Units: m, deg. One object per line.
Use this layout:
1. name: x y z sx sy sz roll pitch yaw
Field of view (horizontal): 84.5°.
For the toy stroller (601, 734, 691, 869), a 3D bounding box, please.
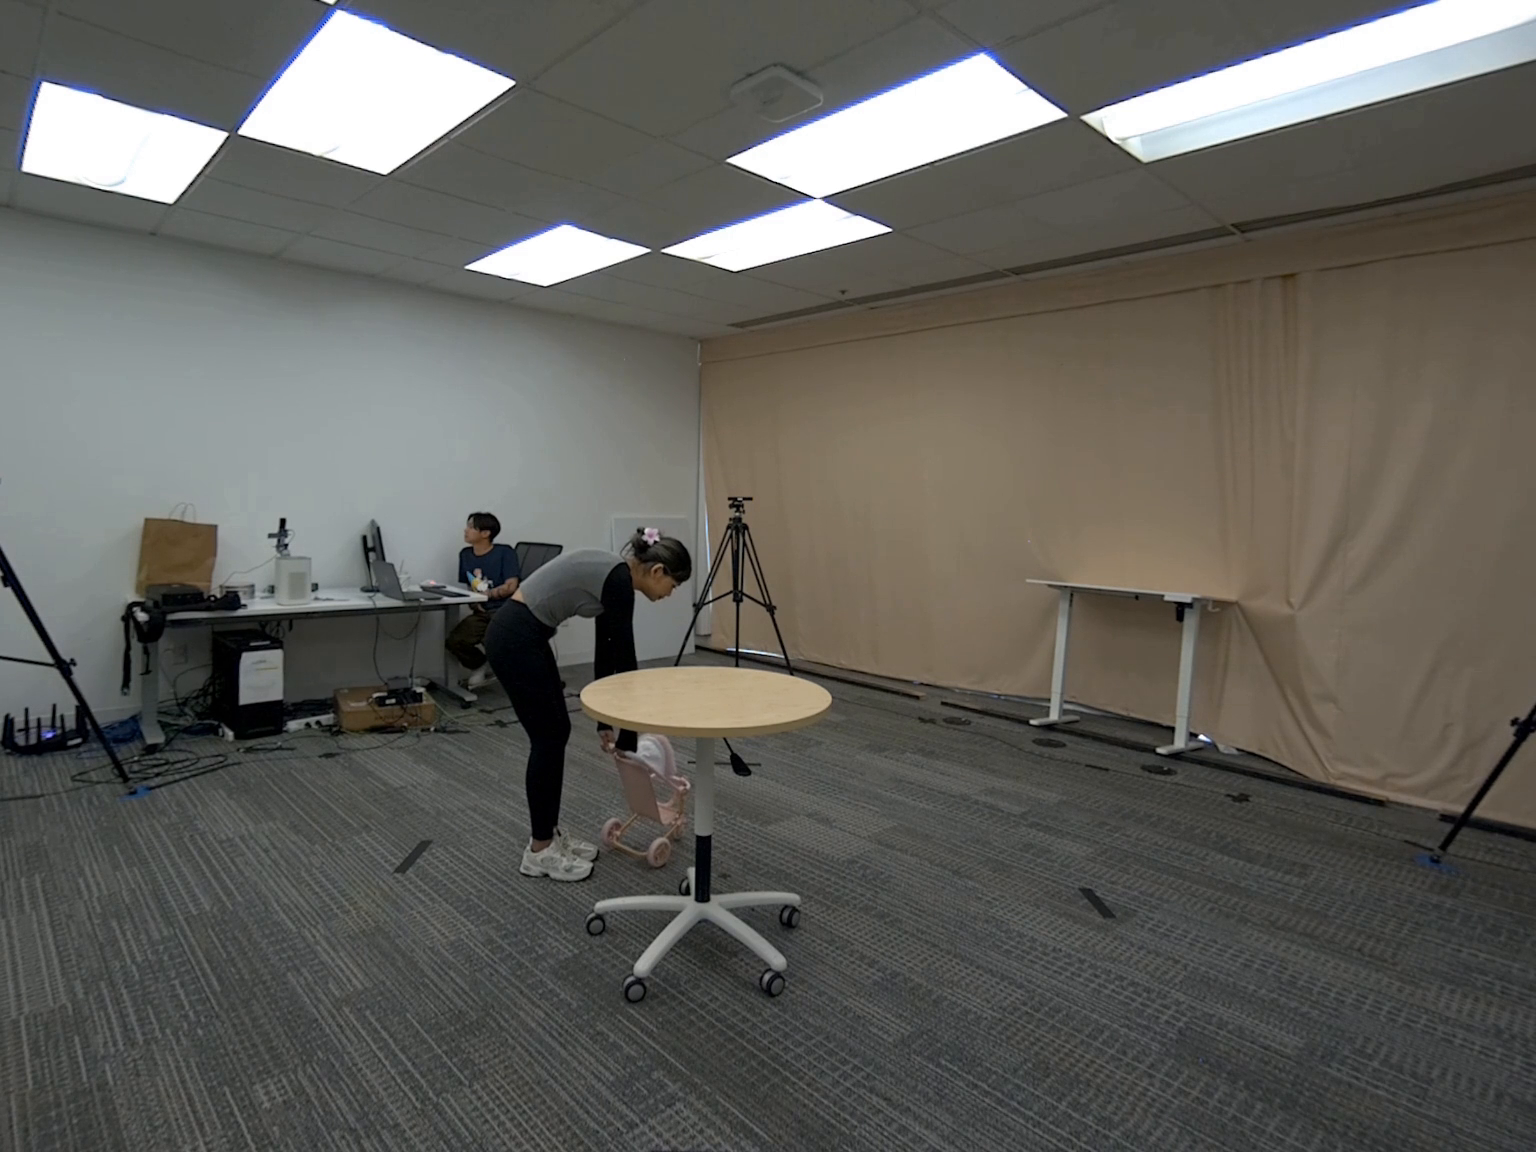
1. toy stroller: -0.459 0.850 3.280 0.289 0.529 0.336 8 17 39
